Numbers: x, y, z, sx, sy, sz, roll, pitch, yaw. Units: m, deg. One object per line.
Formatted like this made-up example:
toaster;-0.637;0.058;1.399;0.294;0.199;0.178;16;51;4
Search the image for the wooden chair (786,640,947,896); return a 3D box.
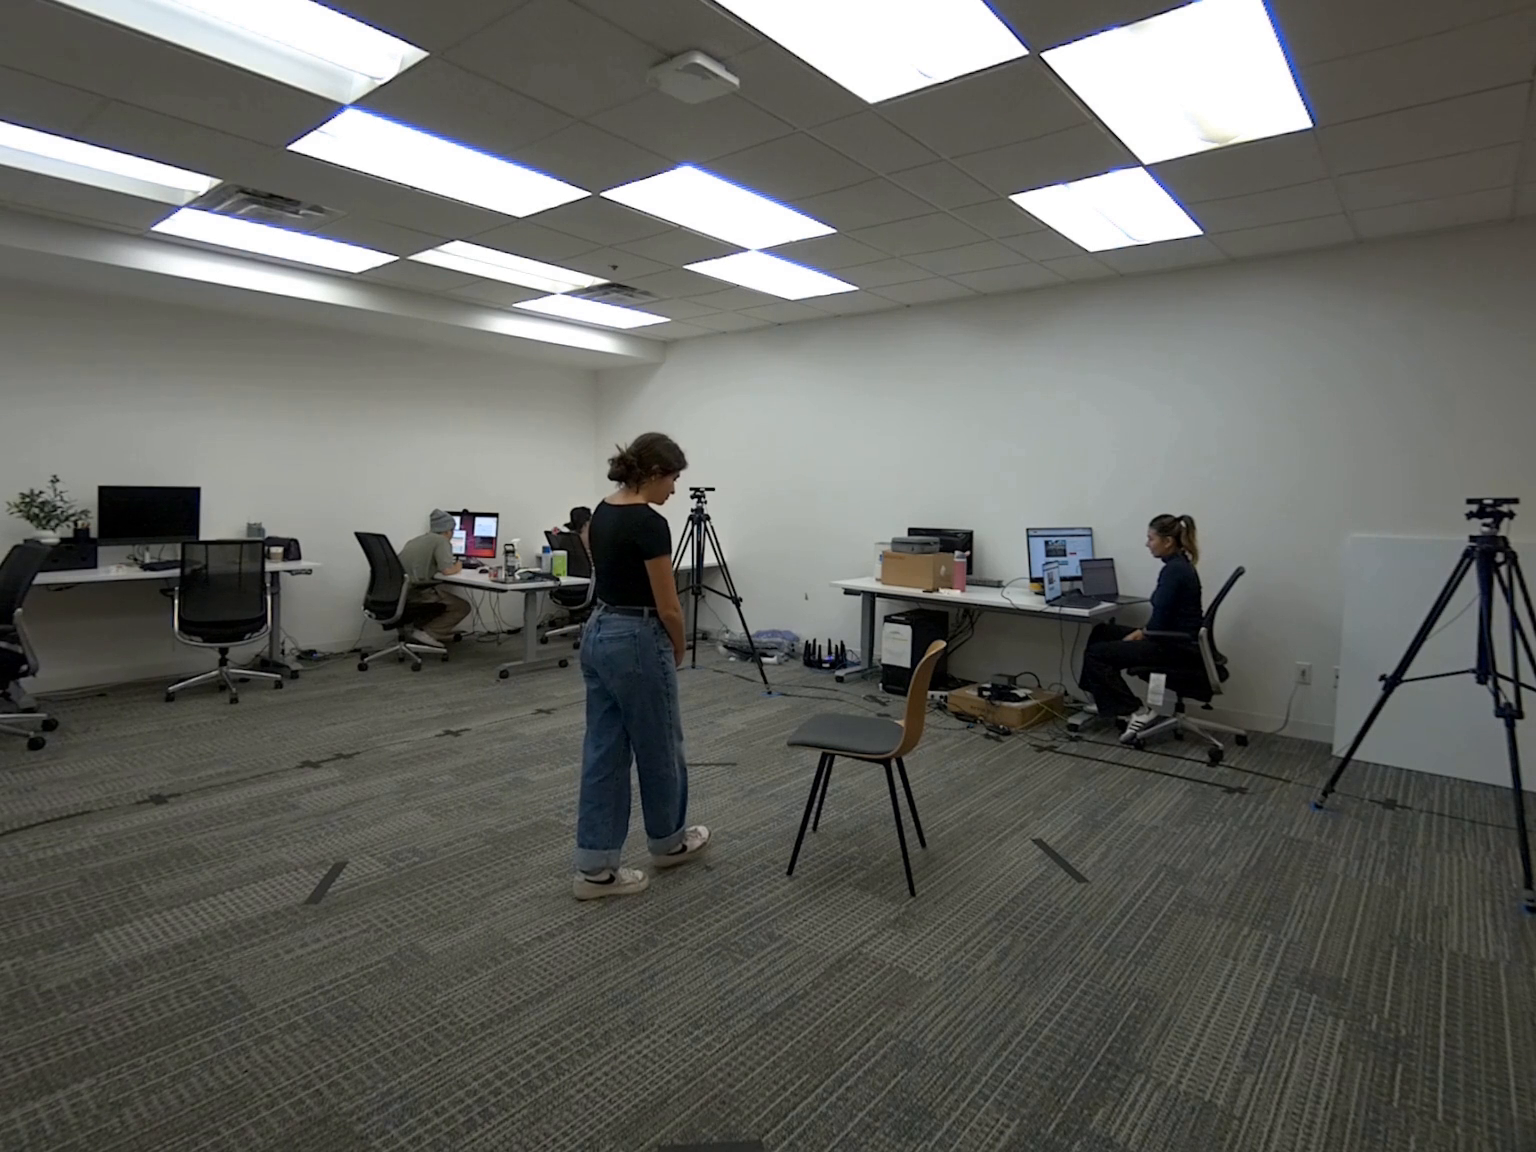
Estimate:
wooden chair;0.342;0.645;3.180;0.534;0.874;0.470;7;5;17
